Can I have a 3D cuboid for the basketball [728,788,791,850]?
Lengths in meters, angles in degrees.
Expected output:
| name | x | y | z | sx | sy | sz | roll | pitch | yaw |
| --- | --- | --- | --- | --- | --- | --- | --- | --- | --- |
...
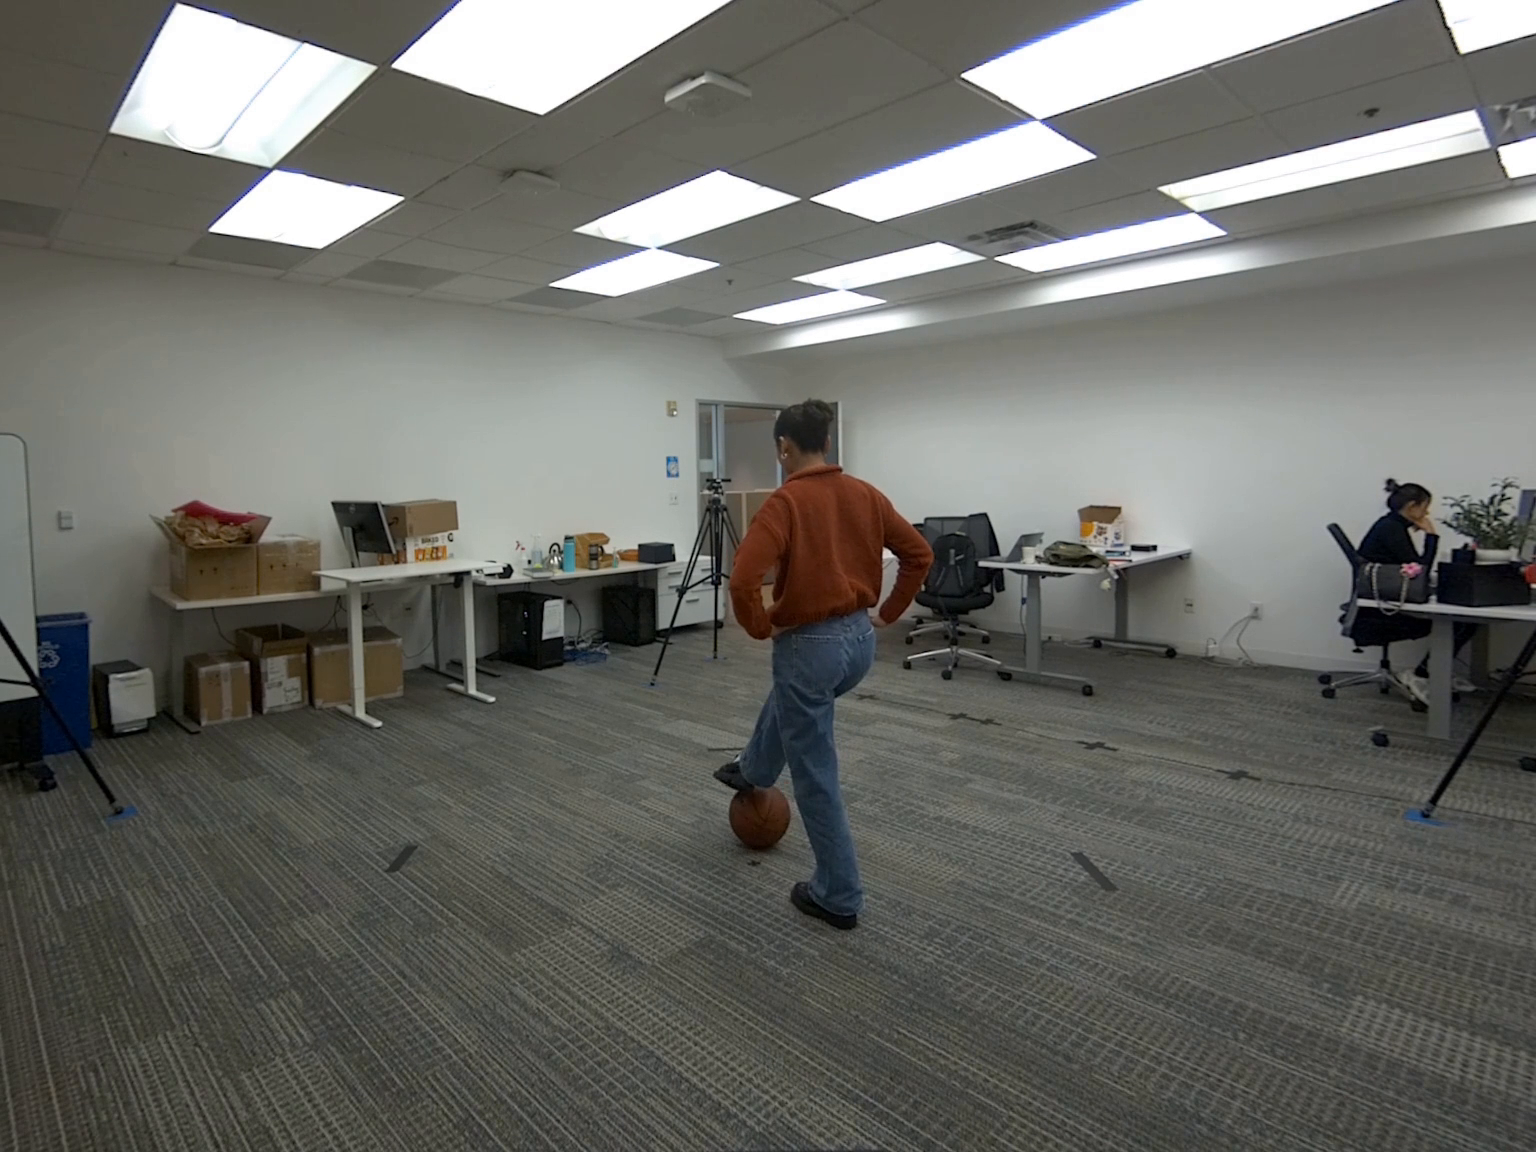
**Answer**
| name | x | y | z | sx | sy | sz | roll | pitch | yaw |
| --- | --- | --- | --- | --- | --- | --- | --- | --- | --- |
| basketball | -0.024 | 0.910 | 3.257 | 0.236 | 0.235 | 0.237 | -1 | 5 | -2 |
